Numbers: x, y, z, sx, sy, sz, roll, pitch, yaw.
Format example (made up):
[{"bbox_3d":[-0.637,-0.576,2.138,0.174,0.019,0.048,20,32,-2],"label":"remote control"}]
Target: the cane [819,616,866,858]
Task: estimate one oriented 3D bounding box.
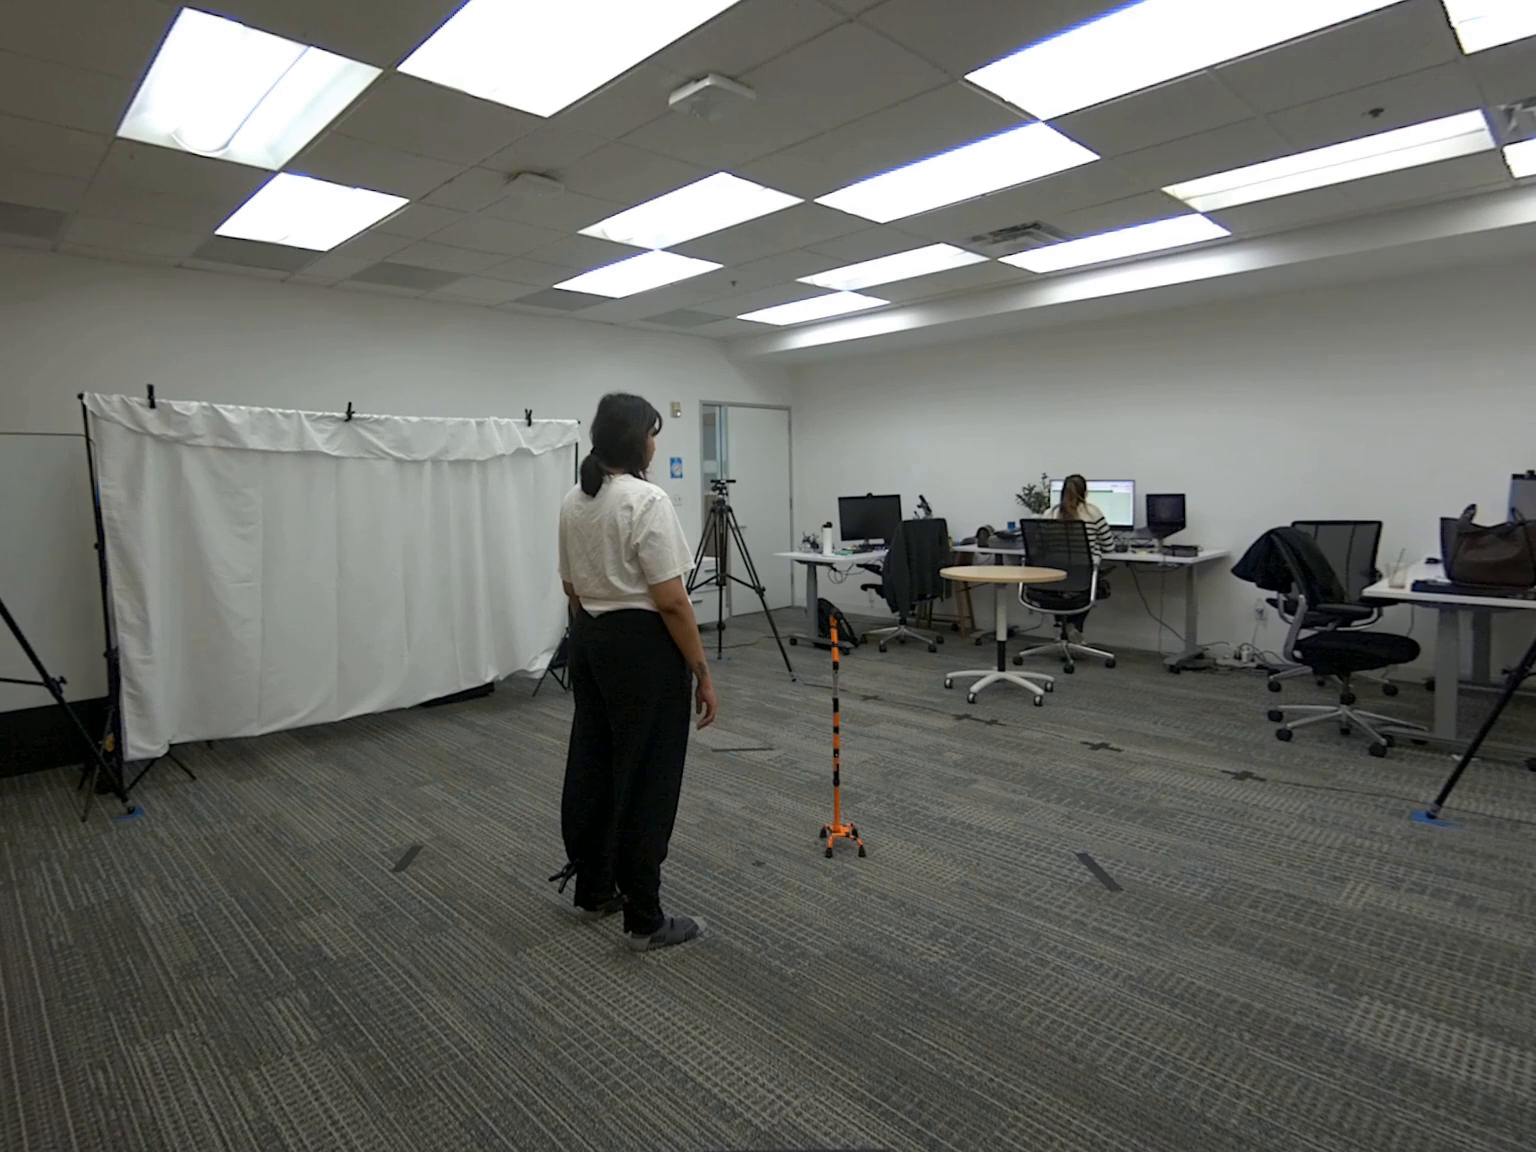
[{"bbox_3d":[0.271,0.577,3.218,0.151,0.905,0.207,-2,4,-2],"label":"cane"}]
